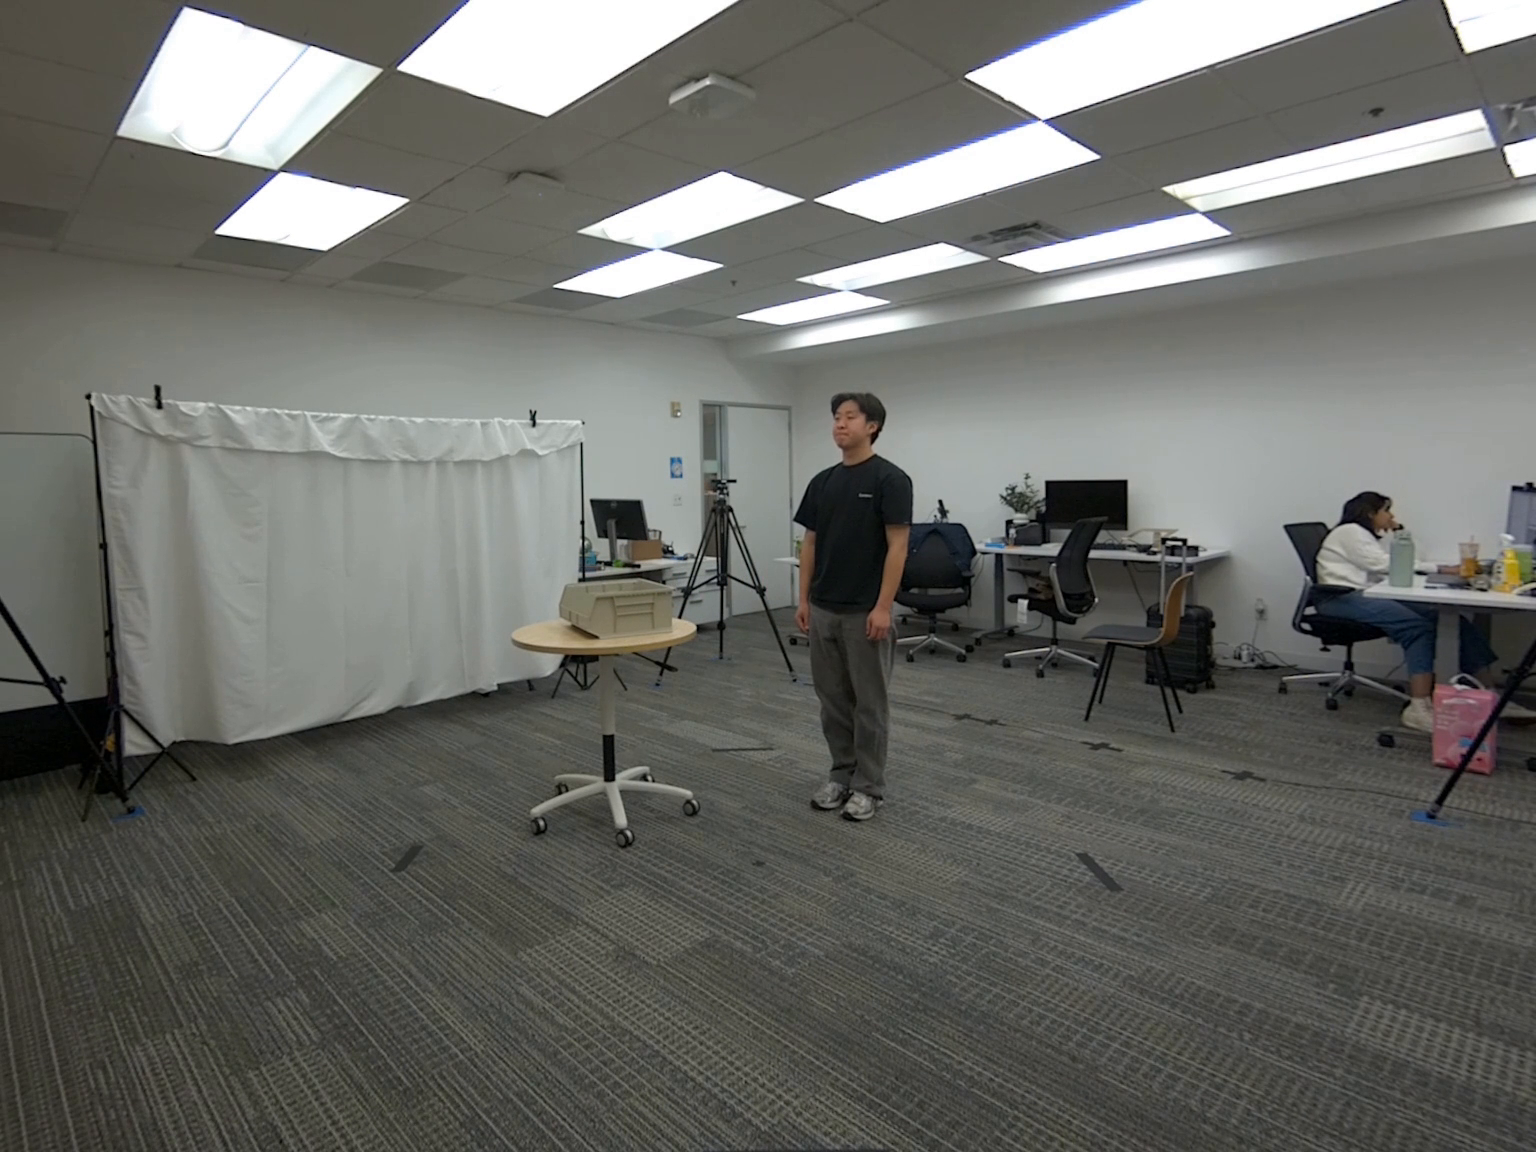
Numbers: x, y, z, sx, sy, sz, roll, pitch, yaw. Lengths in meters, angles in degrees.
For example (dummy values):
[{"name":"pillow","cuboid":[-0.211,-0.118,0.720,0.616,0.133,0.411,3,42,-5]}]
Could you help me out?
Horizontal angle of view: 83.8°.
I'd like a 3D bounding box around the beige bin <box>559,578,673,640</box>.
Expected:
[{"name":"beige bin","cuboid":[-0.641,0.133,3.590,0.369,0.188,0.434,-3,6,-28]}]
